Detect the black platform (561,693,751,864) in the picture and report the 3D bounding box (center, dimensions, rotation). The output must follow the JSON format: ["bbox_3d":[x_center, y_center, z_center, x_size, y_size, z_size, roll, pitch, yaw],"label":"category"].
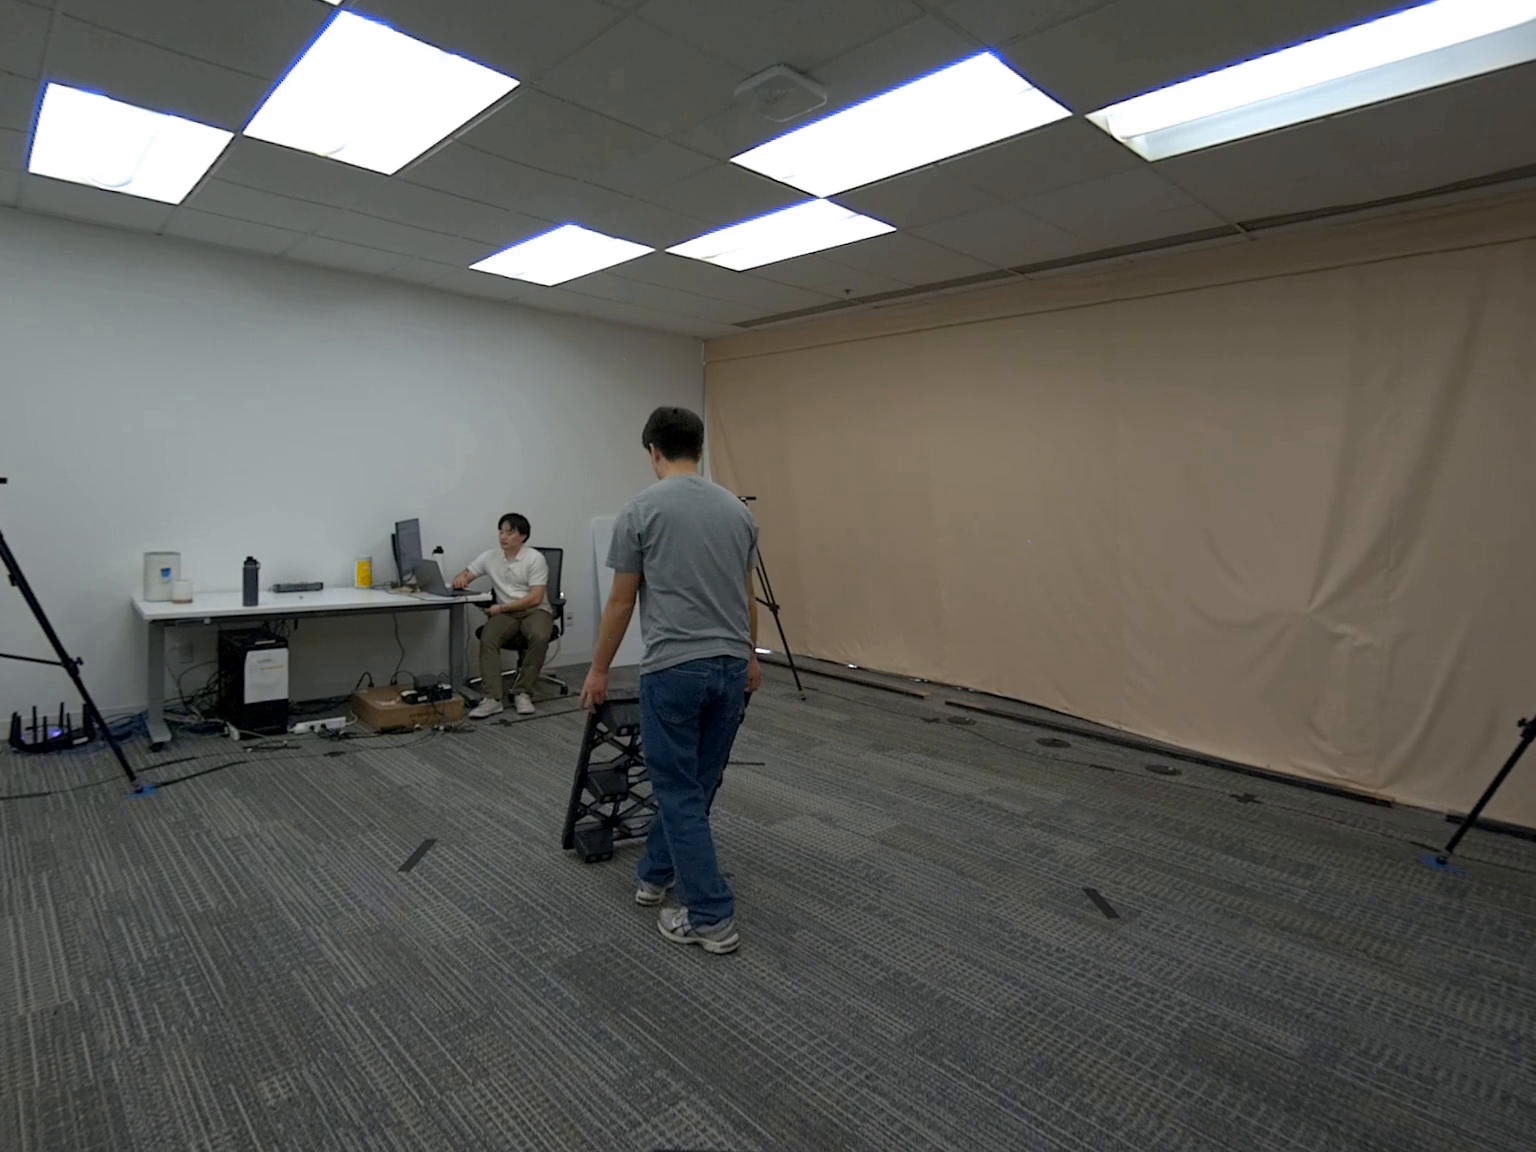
[{"bbox_3d":[-0.414,0.751,3.132,0.594,0.795,0.148,0,36,-25],"label":"black platform"}]
